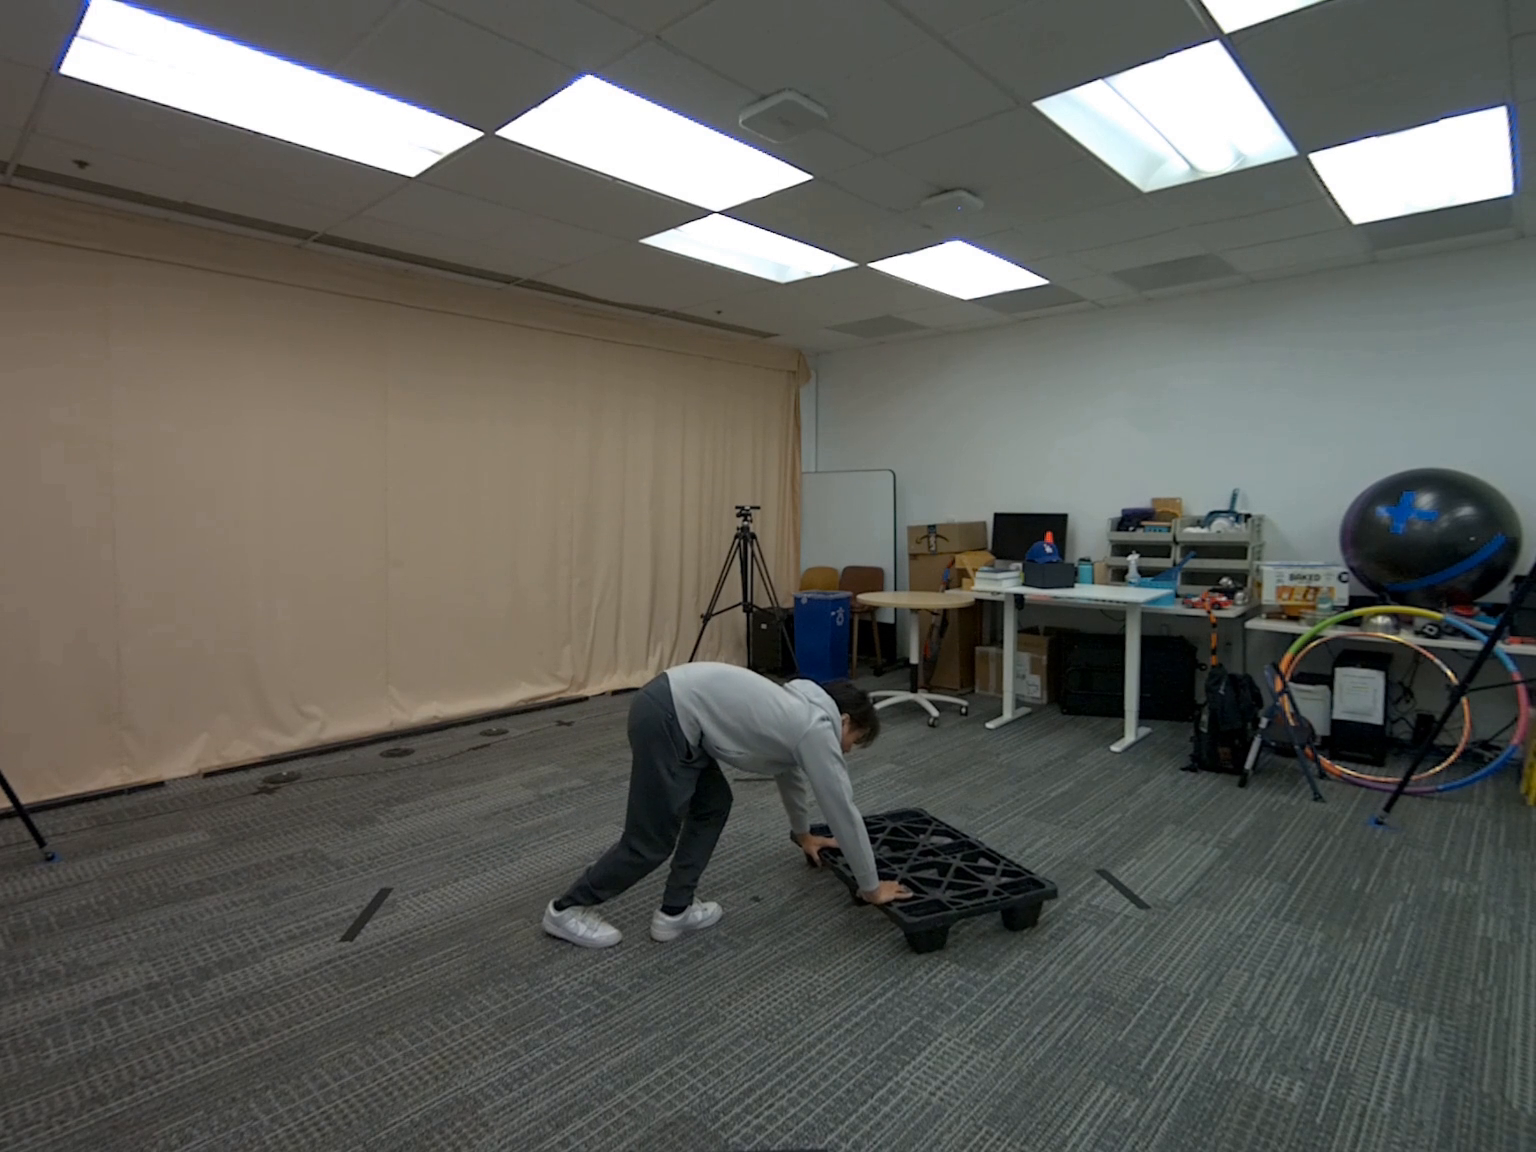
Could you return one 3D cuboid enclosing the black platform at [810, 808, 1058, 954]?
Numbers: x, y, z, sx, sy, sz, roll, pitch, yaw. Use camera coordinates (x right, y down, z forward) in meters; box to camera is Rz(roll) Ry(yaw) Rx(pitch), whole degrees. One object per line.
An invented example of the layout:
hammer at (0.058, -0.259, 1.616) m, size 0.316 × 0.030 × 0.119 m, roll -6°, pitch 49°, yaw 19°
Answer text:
black platform at (0.524, 1.067, 3.029) m, size 0.592 × 0.143 × 0.826 m, roll -2°, pitch 6°, yaw -24°
